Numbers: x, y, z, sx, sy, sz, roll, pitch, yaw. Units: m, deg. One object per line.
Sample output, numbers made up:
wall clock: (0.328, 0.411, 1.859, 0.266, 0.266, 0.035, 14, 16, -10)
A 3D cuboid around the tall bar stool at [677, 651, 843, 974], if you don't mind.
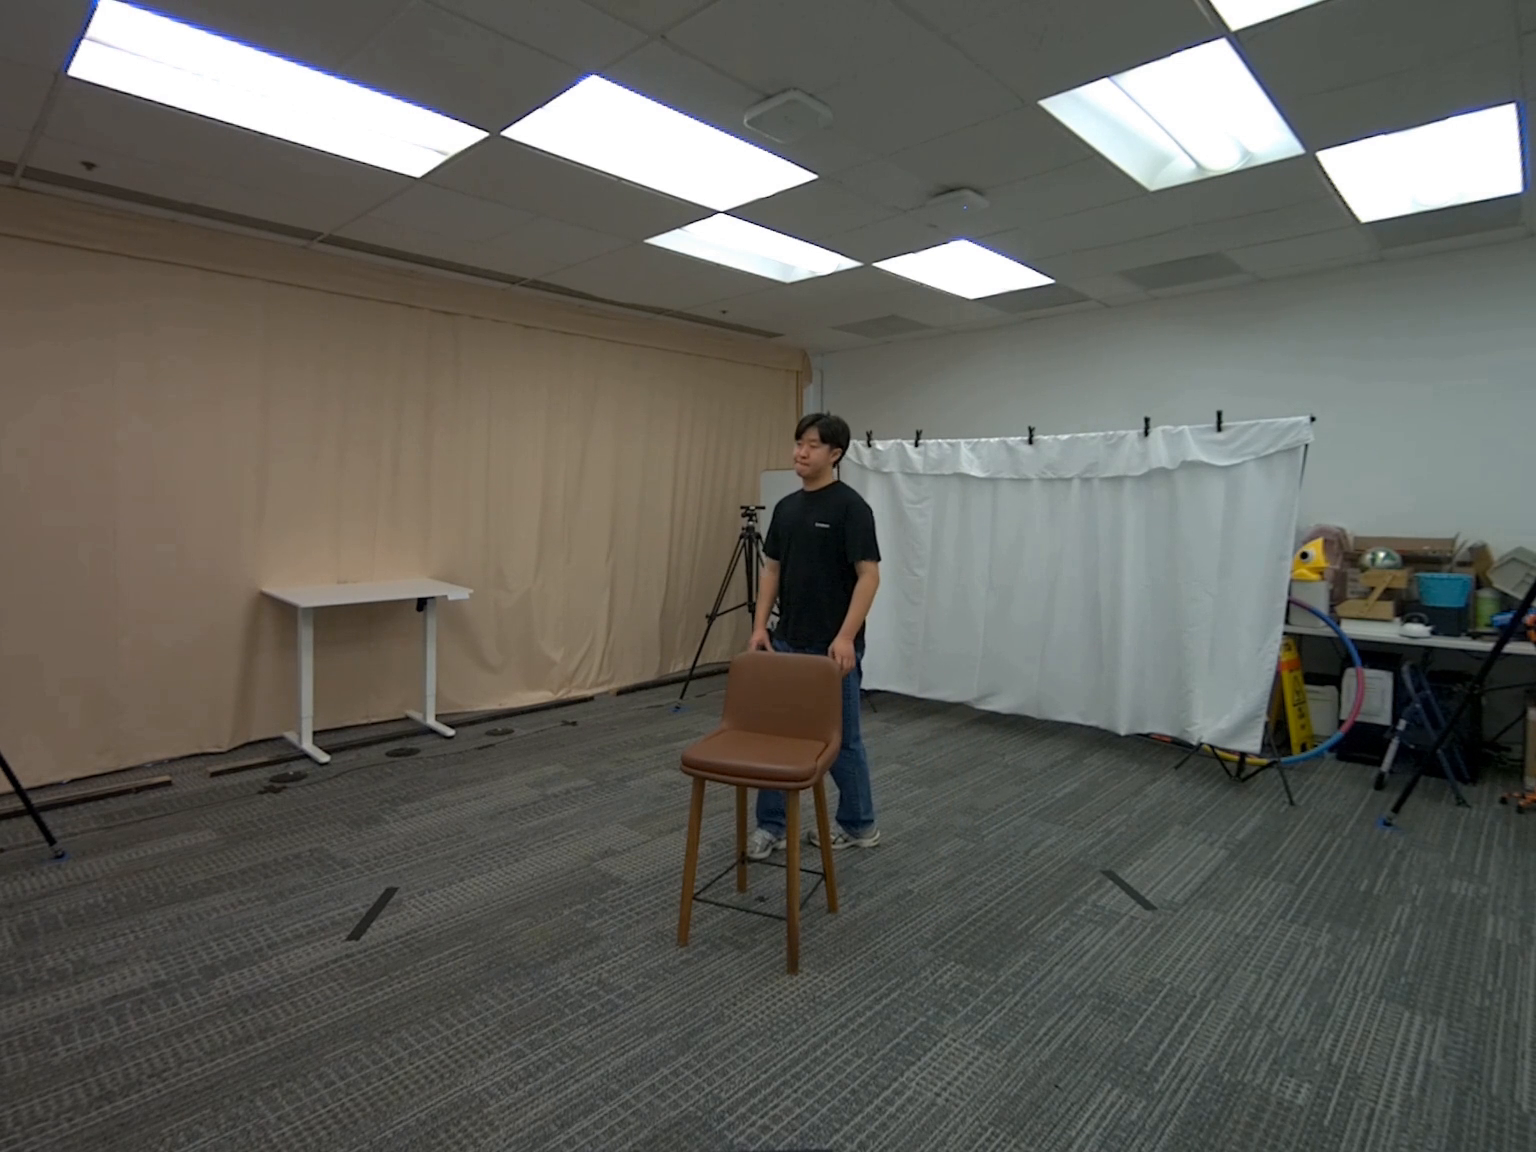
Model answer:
tall bar stool: (-0.011, 0.723, 2.769, 0.469, 0.889, 0.456, 2, 2, 26)
